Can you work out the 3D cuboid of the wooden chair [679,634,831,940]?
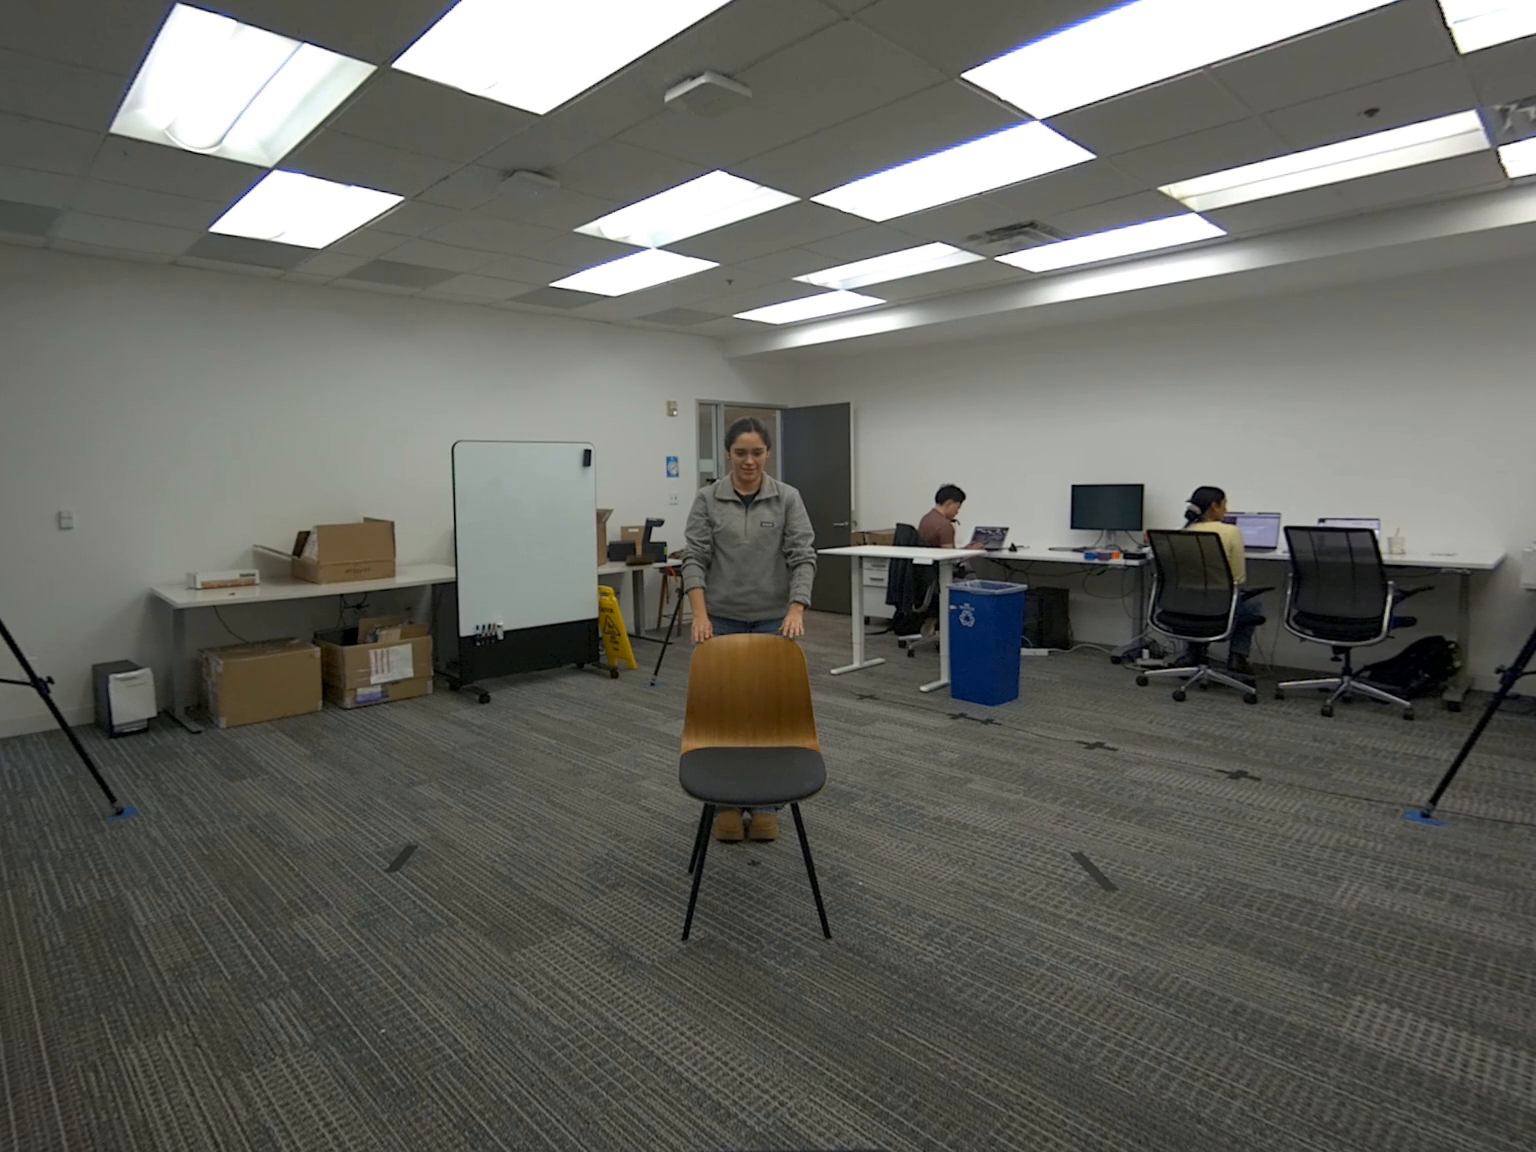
[{"bbox_3d":[-0.053,0.661,2.769,0.478,0.878,0.523,0,0,-1],"label":"wooden chair"}]
